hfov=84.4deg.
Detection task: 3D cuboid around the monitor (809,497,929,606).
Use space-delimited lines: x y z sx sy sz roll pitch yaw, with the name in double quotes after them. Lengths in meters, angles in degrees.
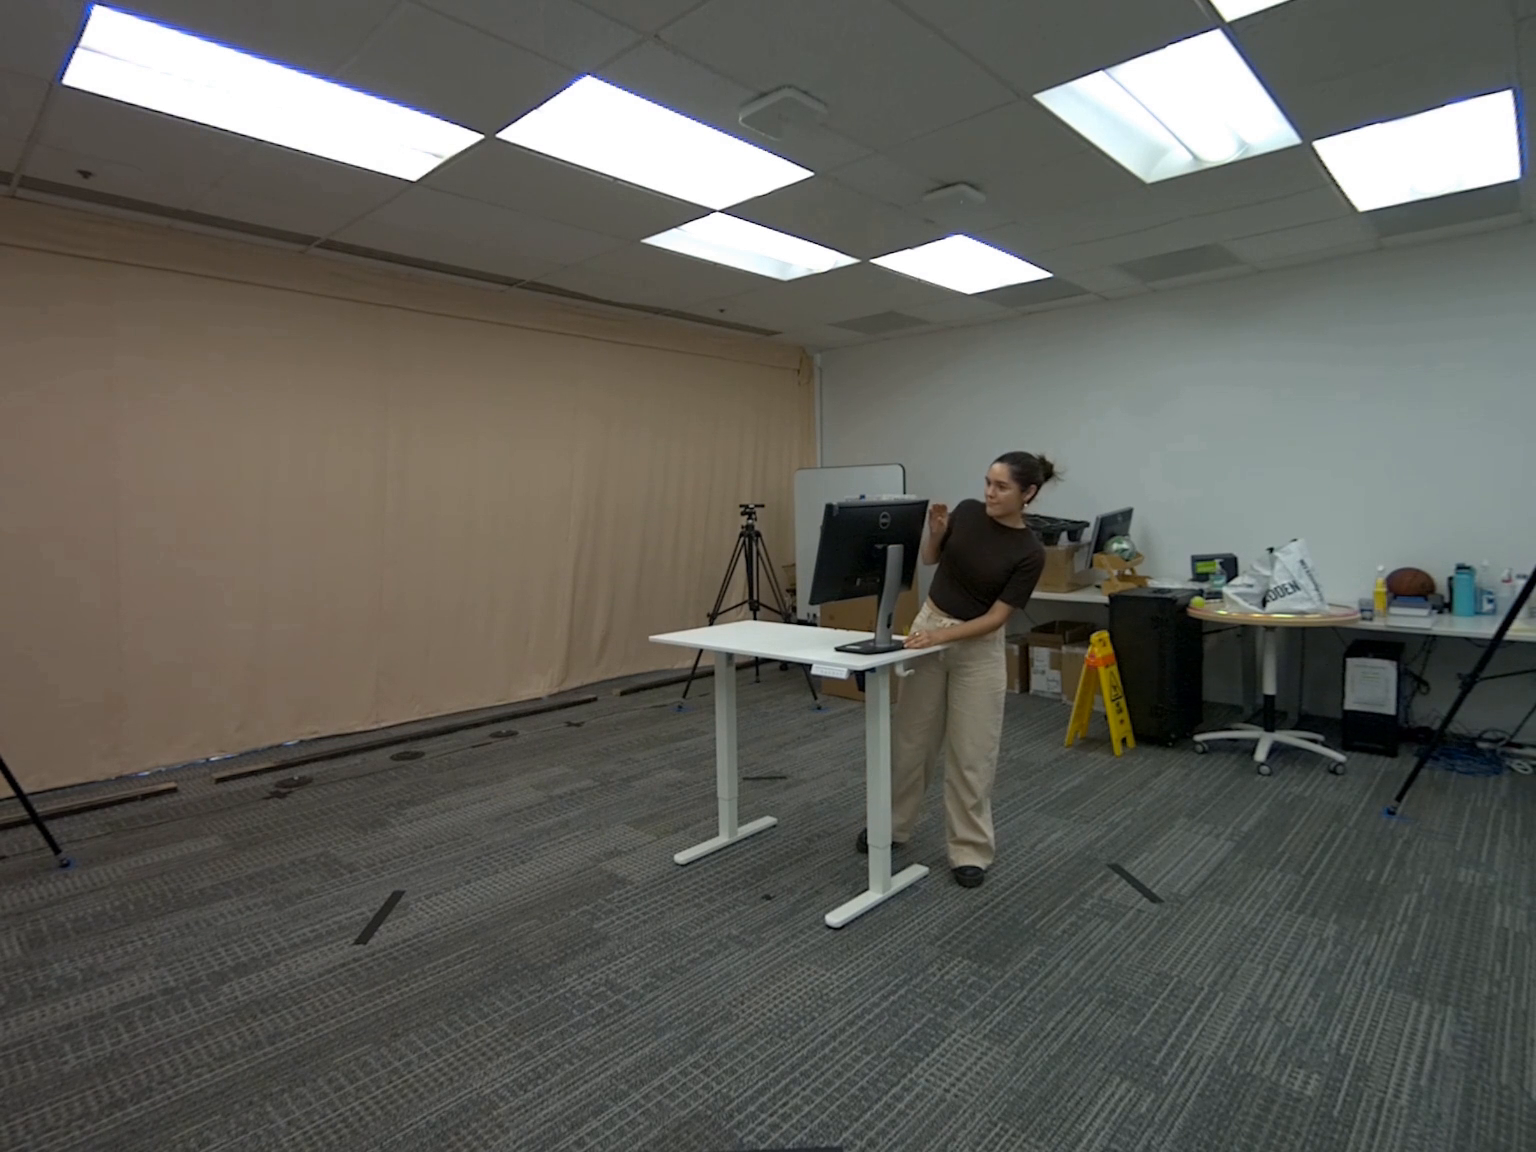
0.395 0.003 2.921 0.523 0.521 0.193 -5 7 -44 "monitor"
